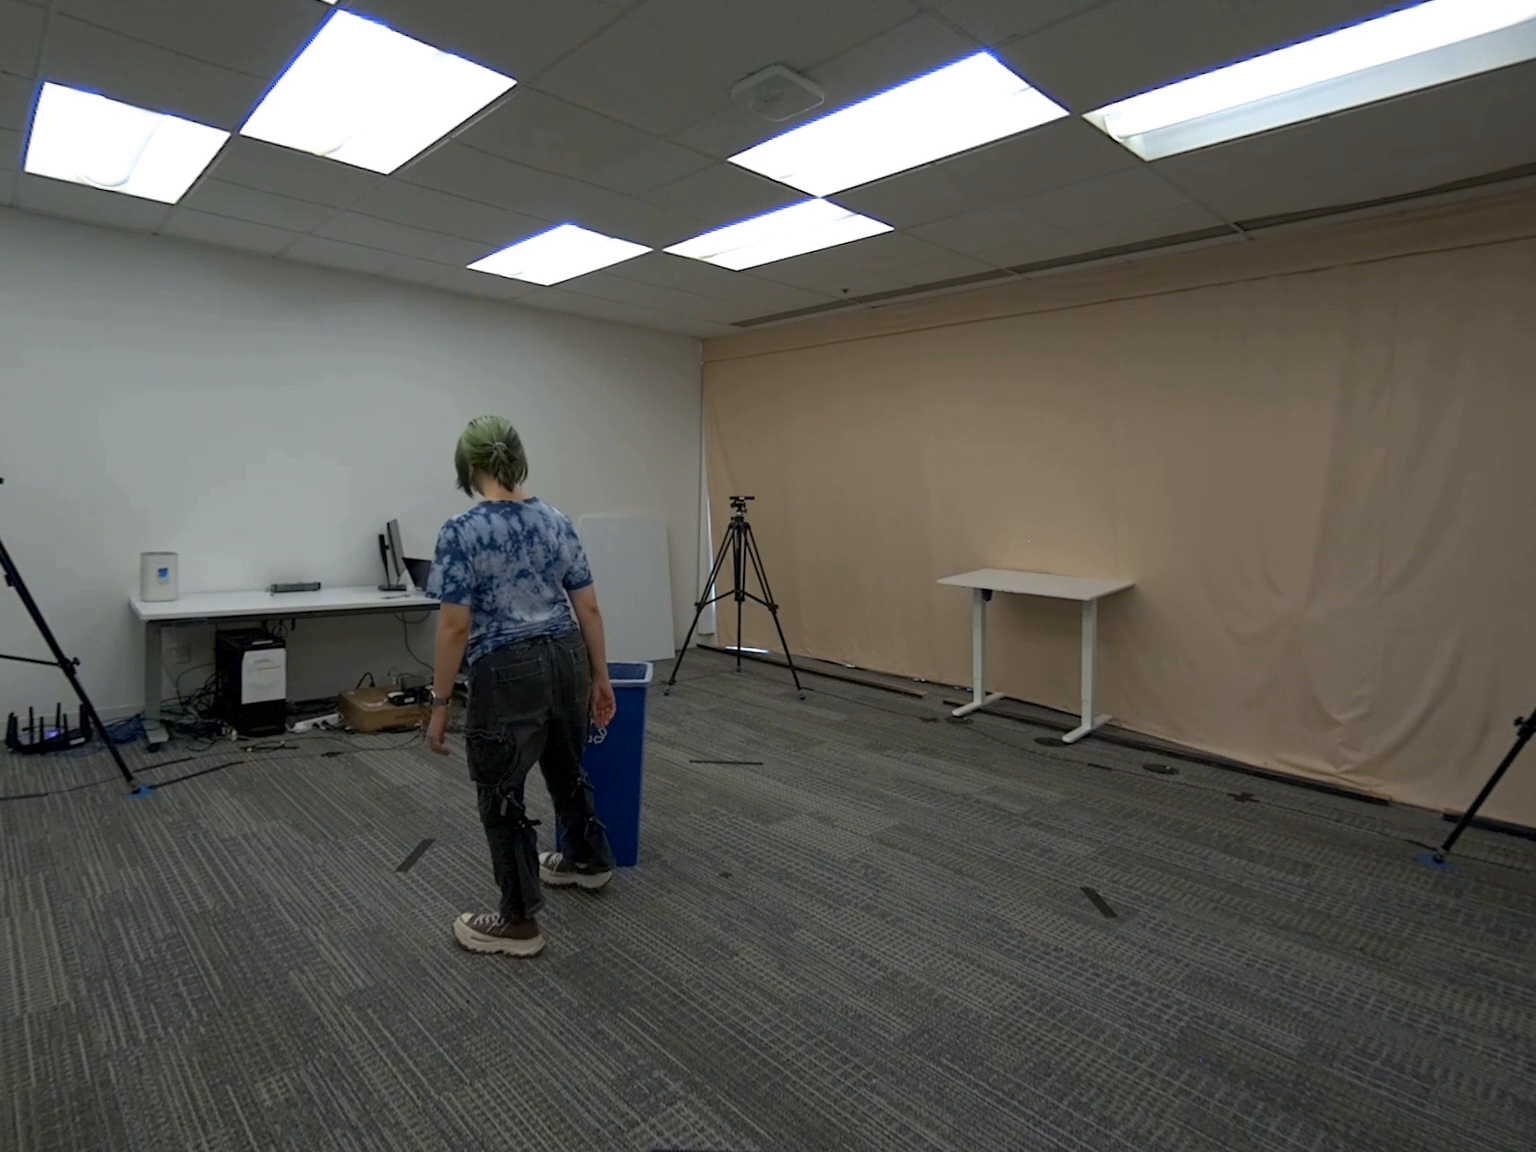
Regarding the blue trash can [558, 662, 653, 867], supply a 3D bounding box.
[{"bbox_3d":[-0.650,0.722,3.279,0.372,0.712,0.380,1,3,-5],"label":"blue trash can"}]
